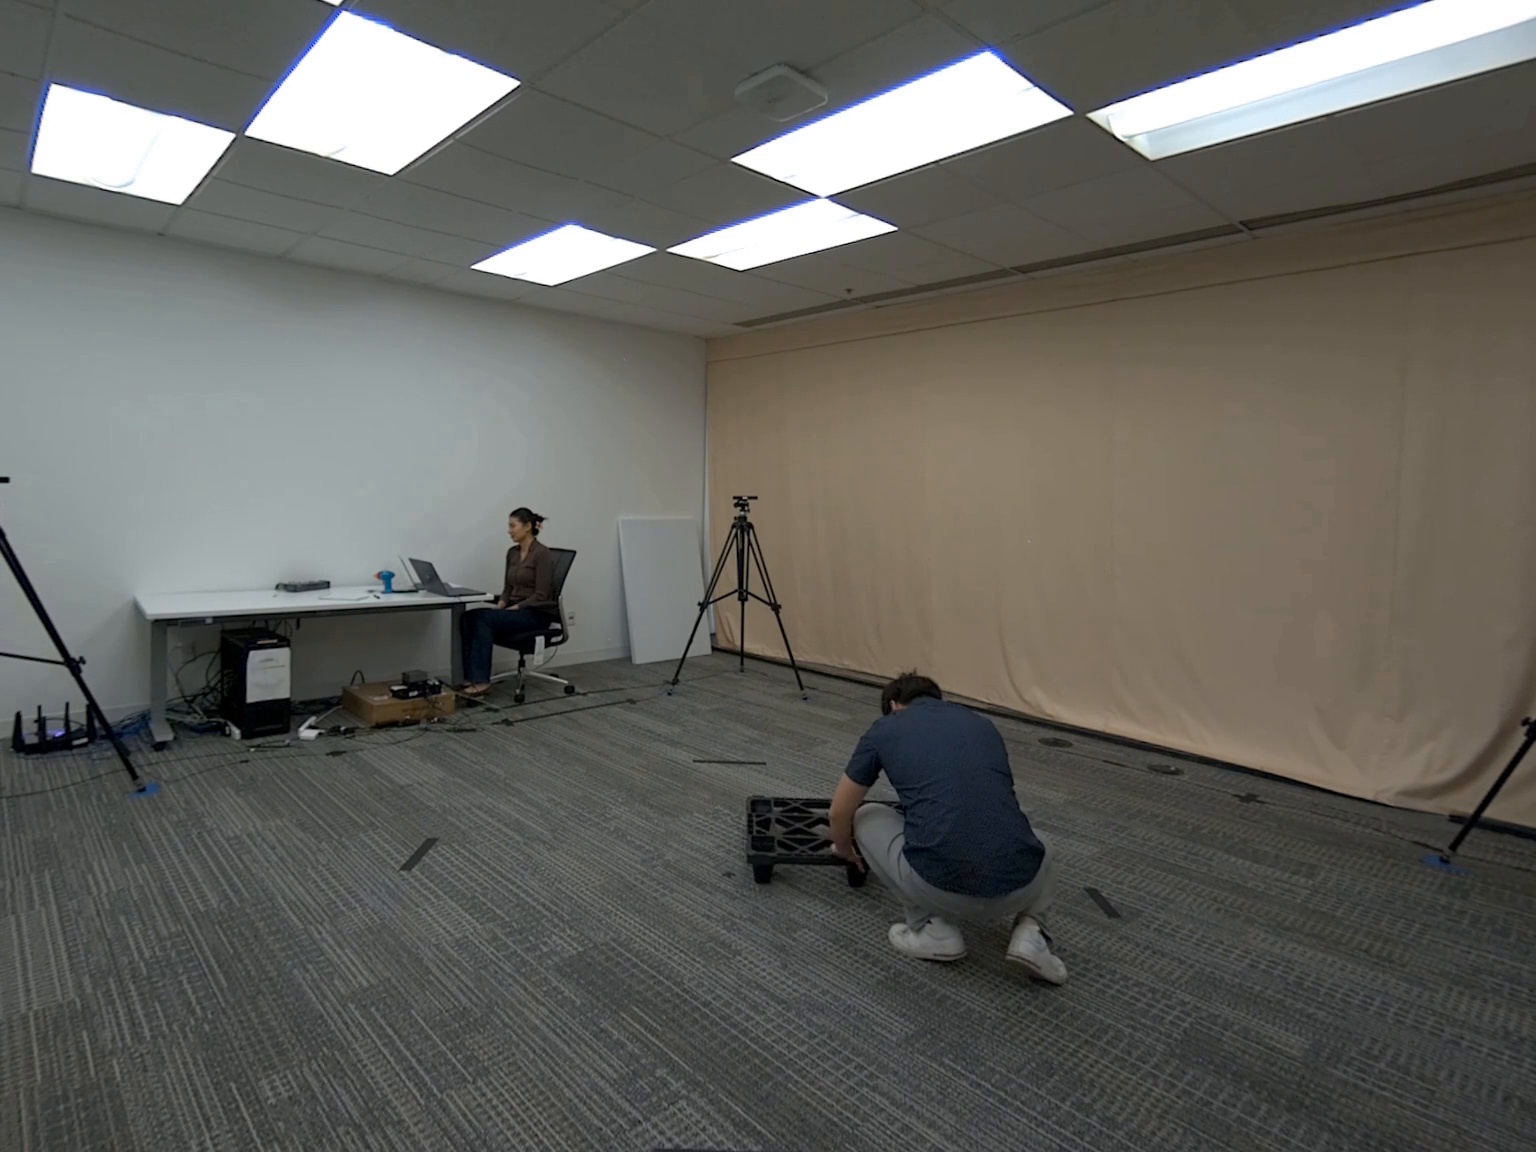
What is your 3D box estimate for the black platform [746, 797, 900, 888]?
[{"bbox_3d":[0.306,1.031,3.262,0.806,0.143,0.606,2,4,0],"label":"black platform"}]
